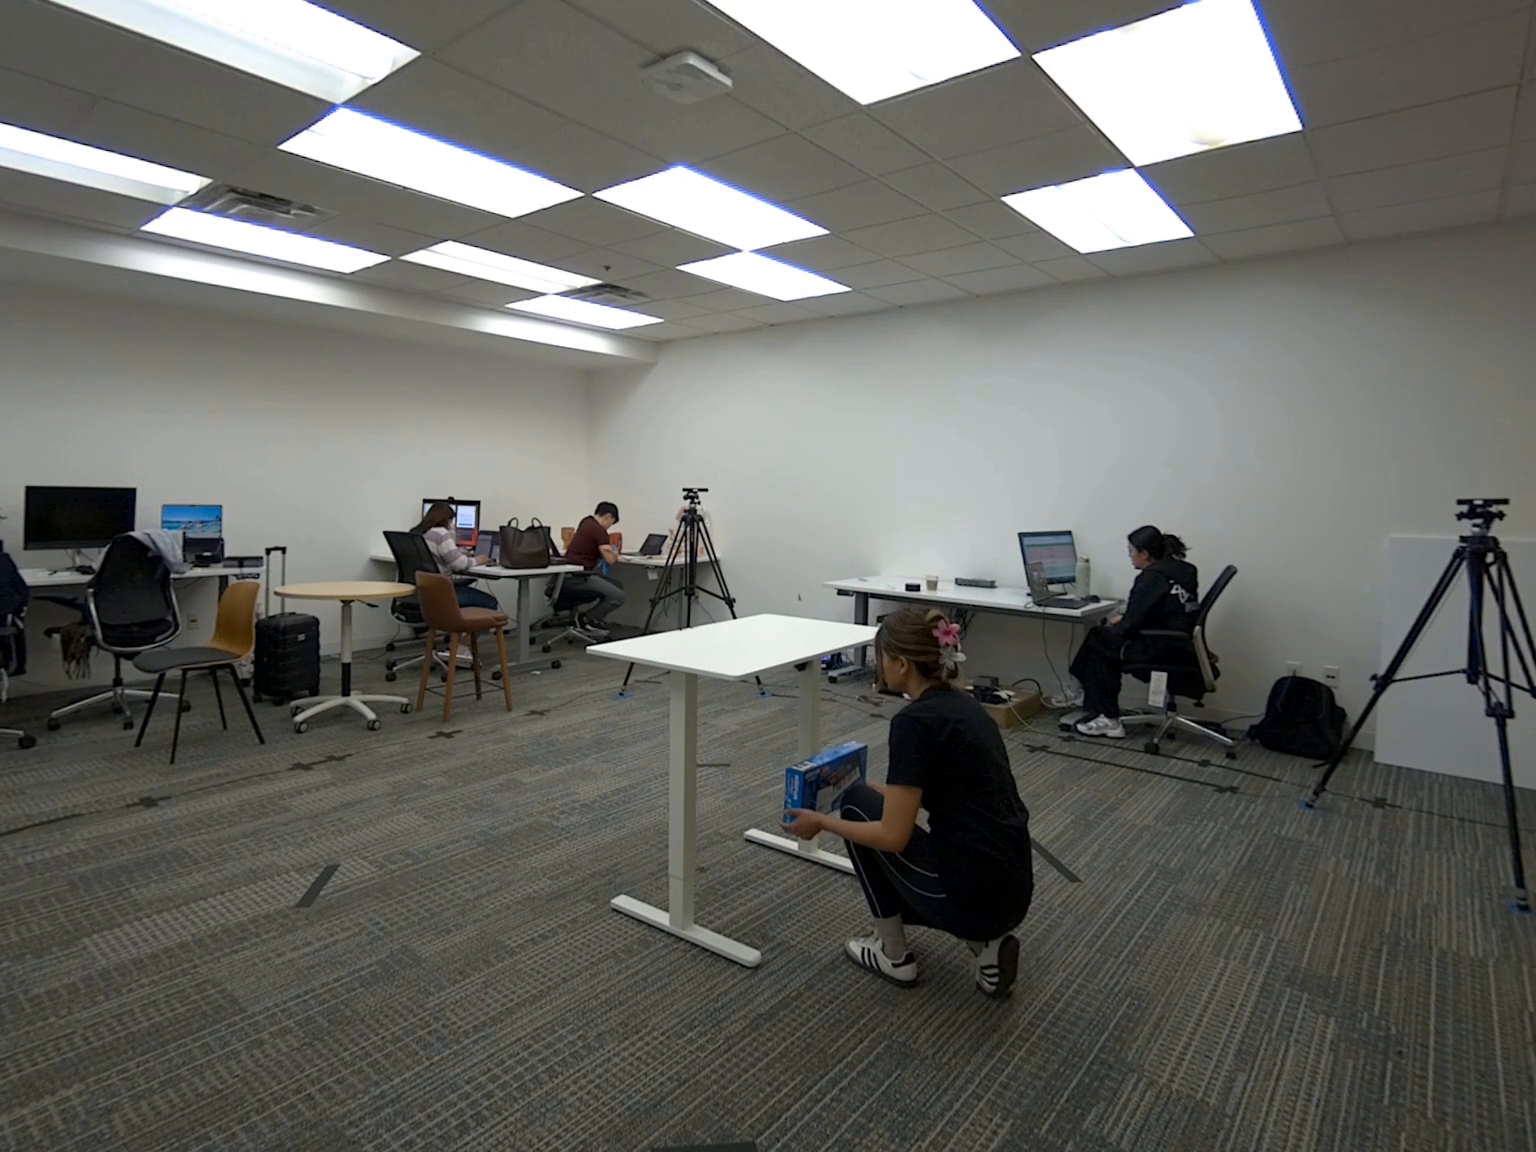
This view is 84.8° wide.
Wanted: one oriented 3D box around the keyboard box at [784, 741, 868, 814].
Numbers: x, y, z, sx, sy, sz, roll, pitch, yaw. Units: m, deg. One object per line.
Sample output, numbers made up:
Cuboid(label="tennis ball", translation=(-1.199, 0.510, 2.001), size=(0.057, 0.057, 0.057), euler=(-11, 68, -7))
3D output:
Cuboid(label="keyboard box", translation=(0.184, 0.645, 2.665), size=(0.061, 0.175, 0.424), euler=(4, 4, 33))
